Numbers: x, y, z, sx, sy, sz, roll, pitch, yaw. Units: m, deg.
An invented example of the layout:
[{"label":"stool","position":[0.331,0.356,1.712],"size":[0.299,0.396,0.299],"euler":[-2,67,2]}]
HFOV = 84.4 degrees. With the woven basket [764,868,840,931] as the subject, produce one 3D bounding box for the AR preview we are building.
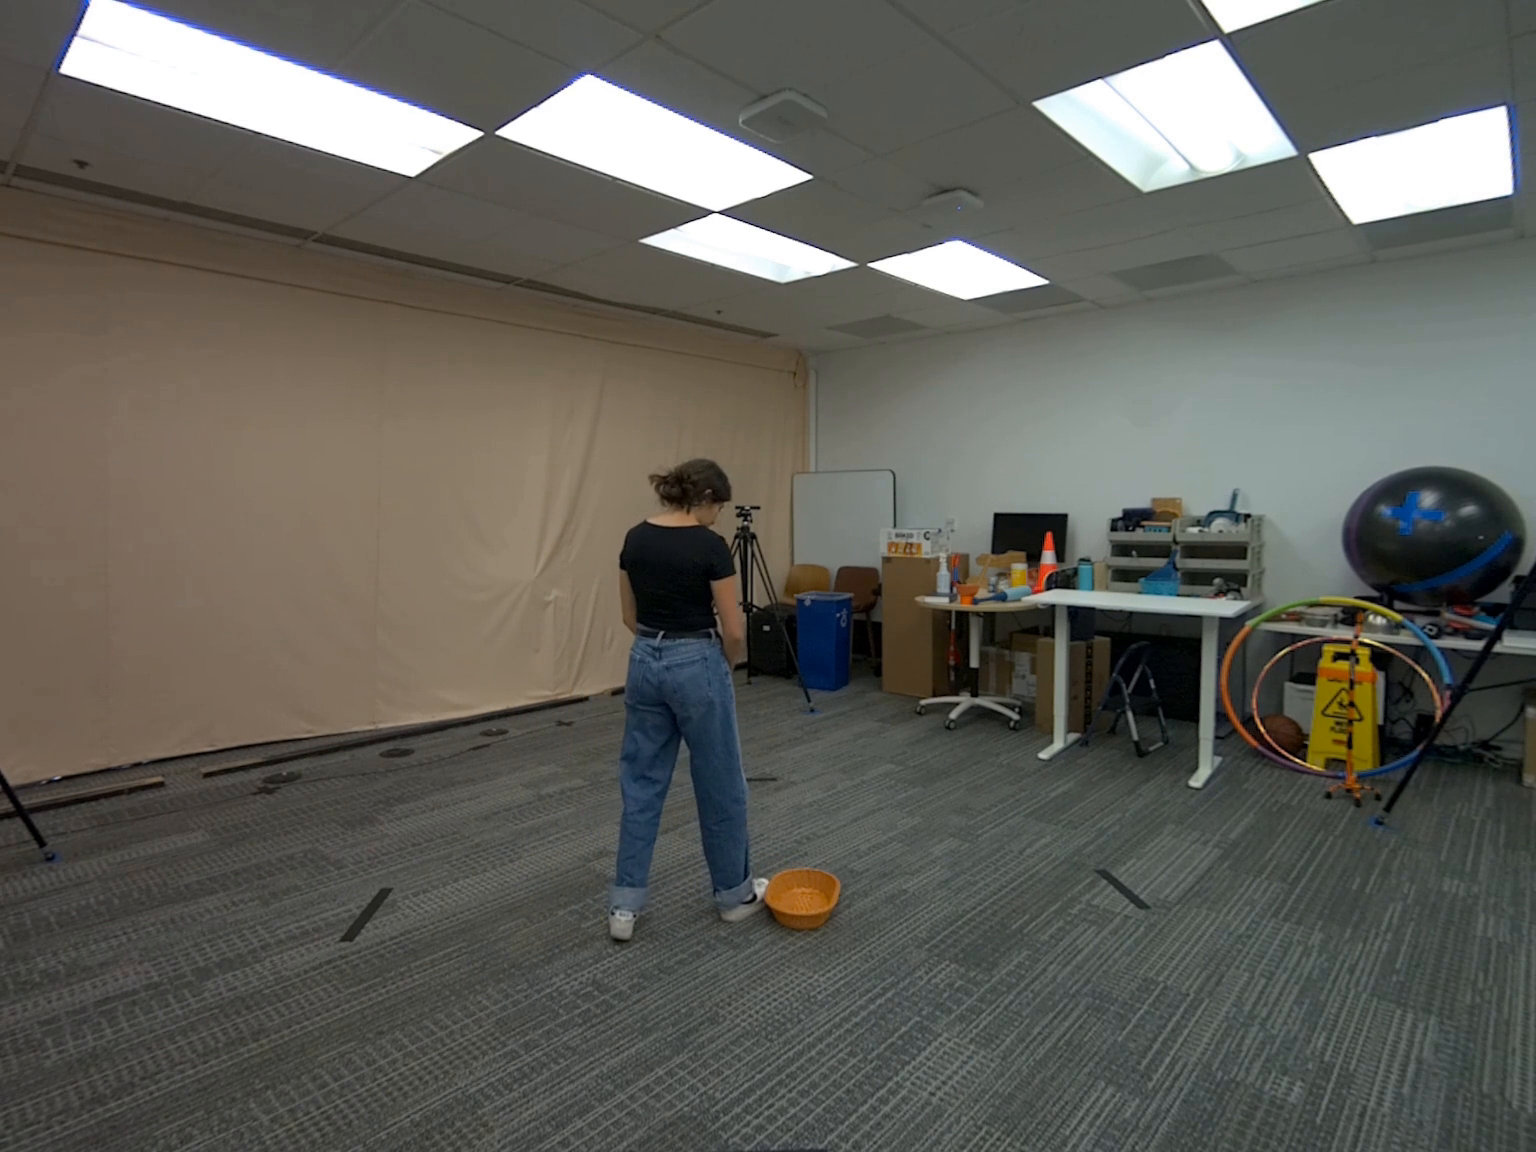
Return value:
[{"label":"woven basket","position":[0.117,1.112,2.899],"size":[0.257,0.073,0.345],"euler":[0,5,15]}]
